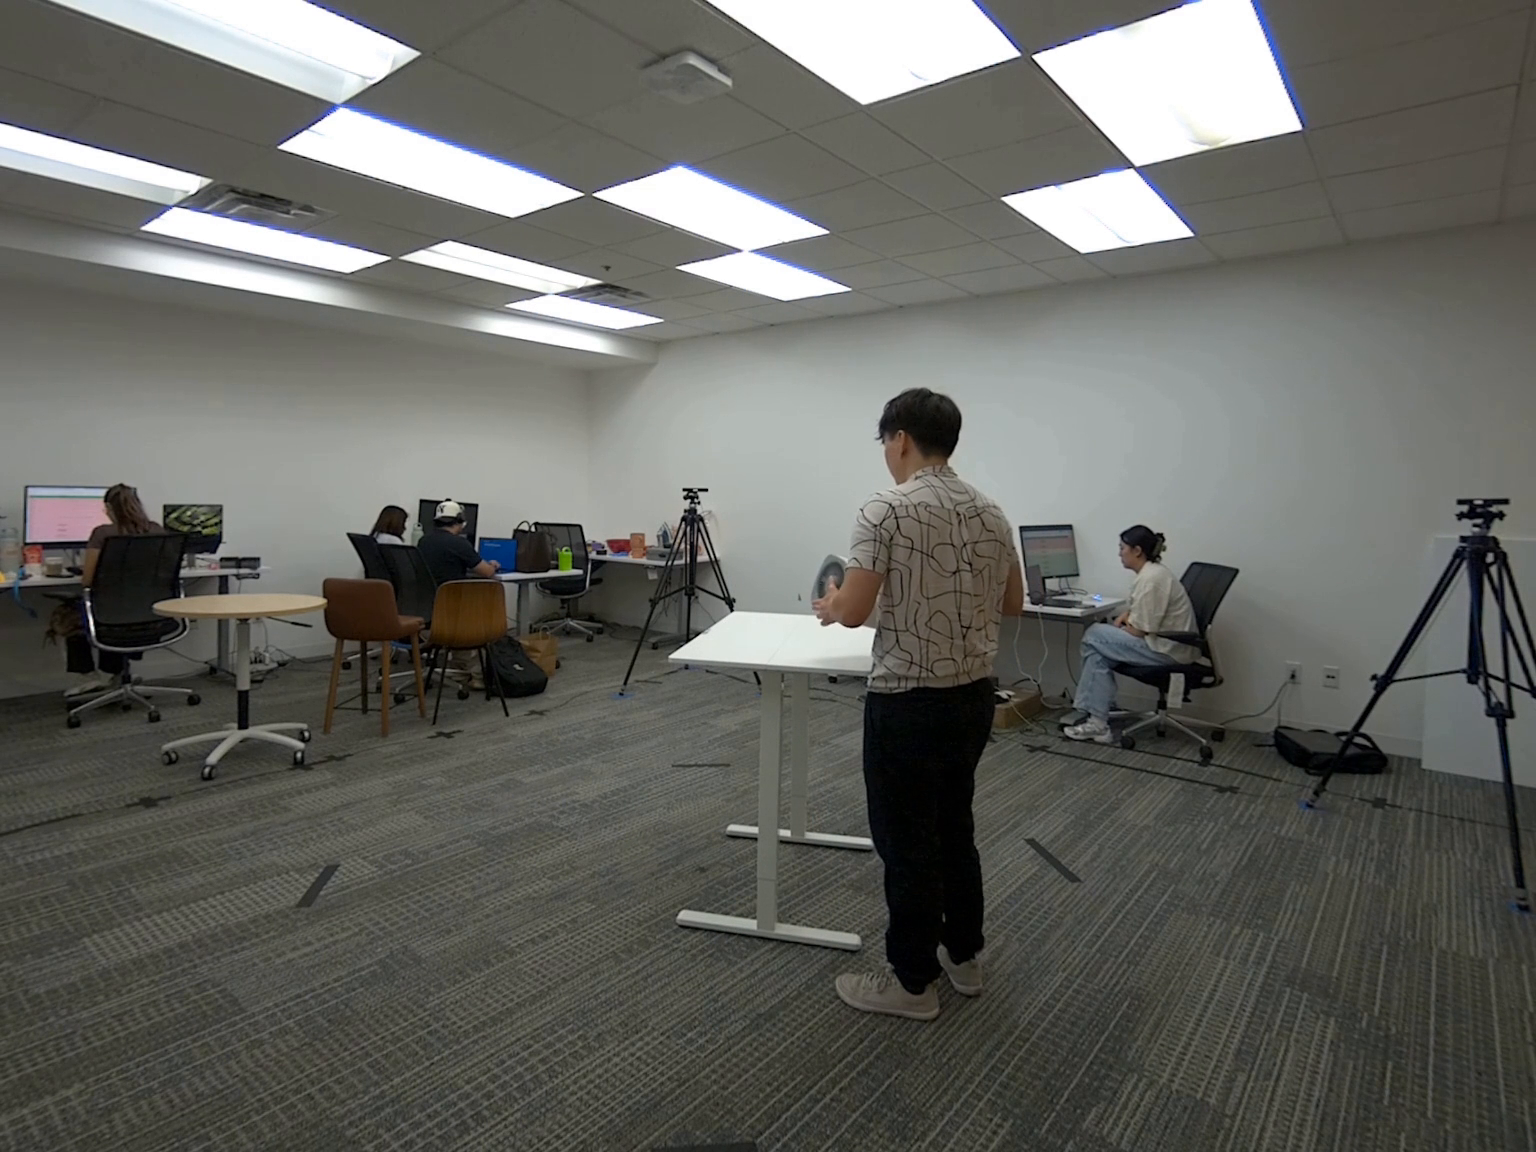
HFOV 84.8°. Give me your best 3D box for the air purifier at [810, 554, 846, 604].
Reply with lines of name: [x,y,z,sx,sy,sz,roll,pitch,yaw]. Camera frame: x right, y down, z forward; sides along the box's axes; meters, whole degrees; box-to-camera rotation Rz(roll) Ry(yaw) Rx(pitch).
air purifier: [0.285,0.054,2.532,0.257,0.170,0.177,18,9,-26]
